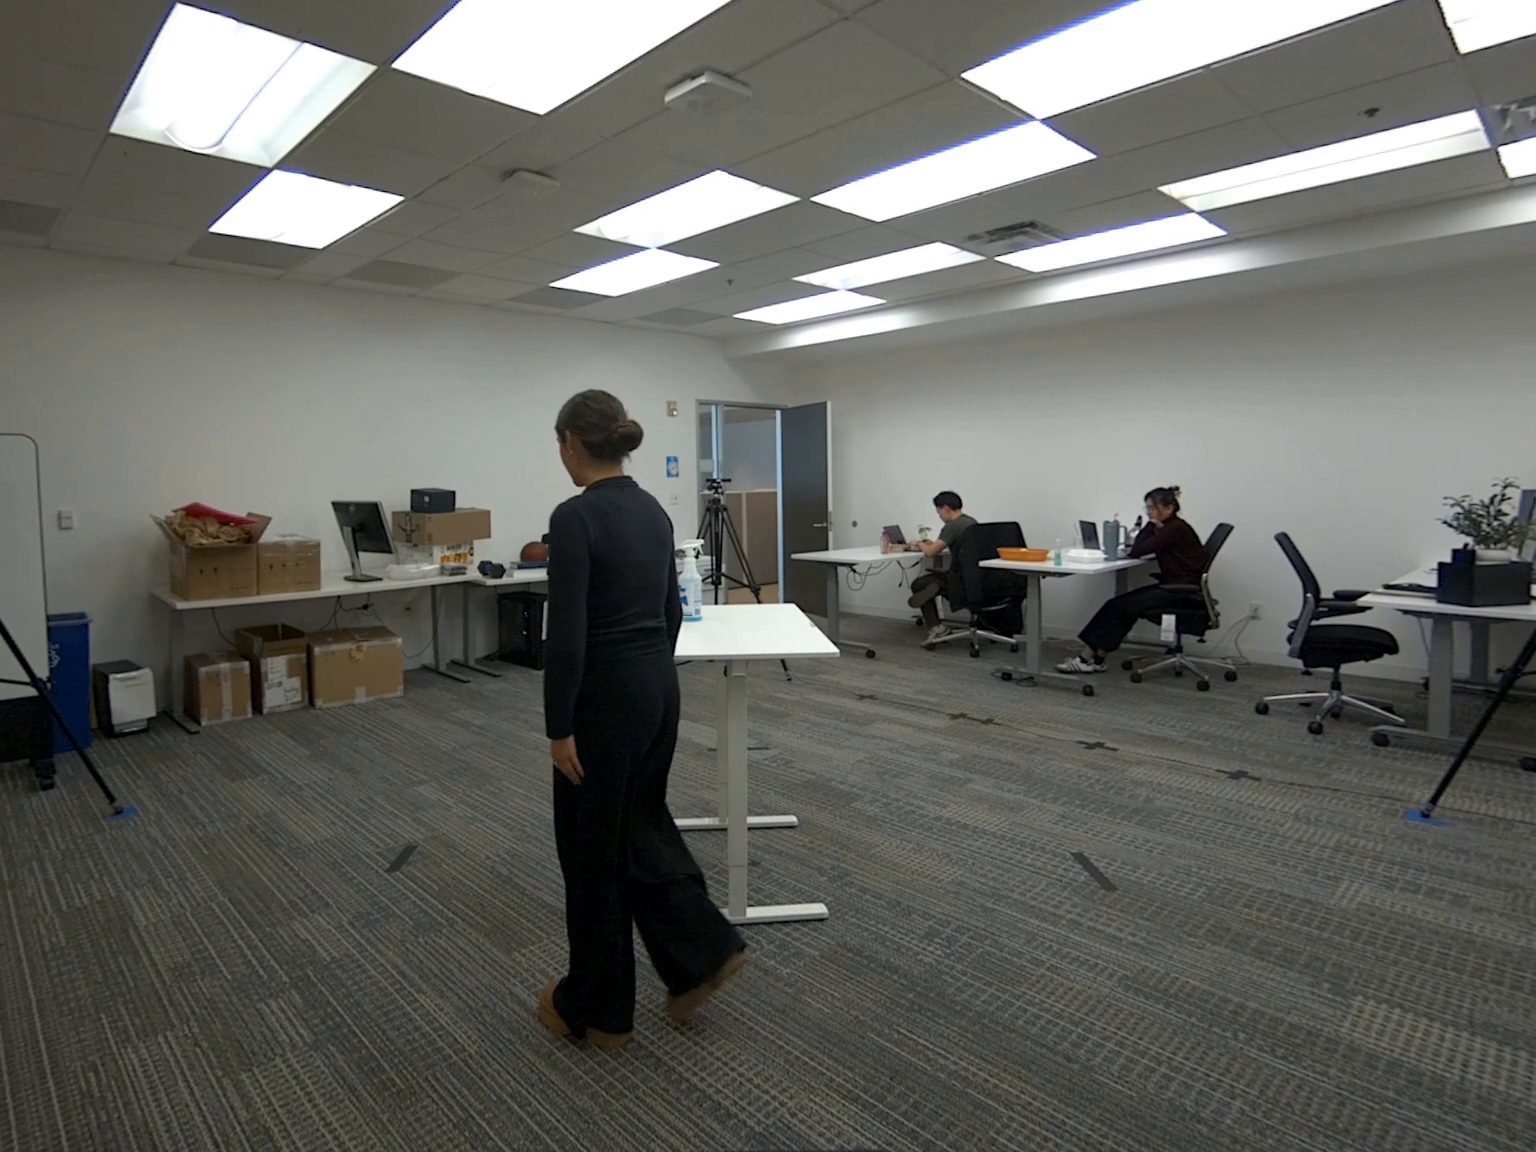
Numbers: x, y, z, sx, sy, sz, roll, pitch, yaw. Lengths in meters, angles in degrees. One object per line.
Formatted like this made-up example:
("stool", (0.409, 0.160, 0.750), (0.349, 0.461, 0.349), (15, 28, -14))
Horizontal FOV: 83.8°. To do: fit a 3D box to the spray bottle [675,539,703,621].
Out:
("spray bottle", (-0.282, 0.017, 3.139), (0.092, 0.297, 0.085), (3, 2, 19))
